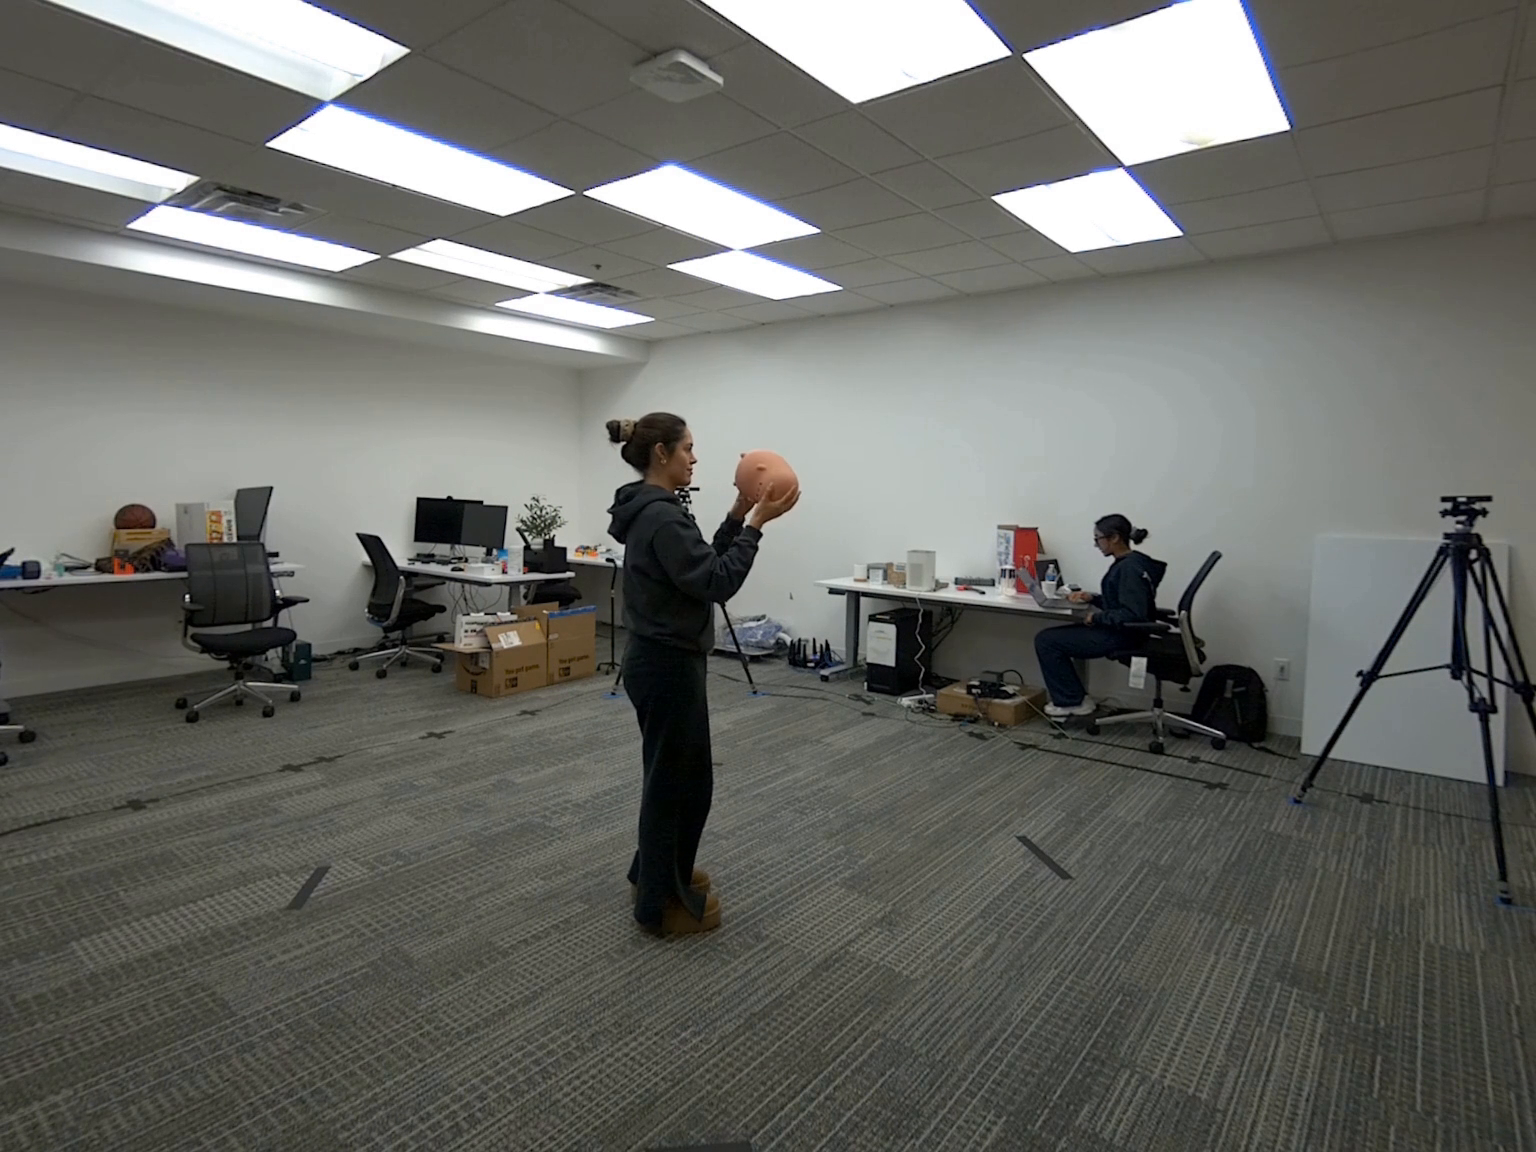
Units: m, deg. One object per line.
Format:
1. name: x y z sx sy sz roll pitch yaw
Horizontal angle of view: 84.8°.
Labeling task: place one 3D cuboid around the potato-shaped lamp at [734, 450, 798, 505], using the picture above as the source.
1. potato-shaped lamp: -0.005 -0.293 2.611 0.161 0.168 0.207 -13 33 -33
